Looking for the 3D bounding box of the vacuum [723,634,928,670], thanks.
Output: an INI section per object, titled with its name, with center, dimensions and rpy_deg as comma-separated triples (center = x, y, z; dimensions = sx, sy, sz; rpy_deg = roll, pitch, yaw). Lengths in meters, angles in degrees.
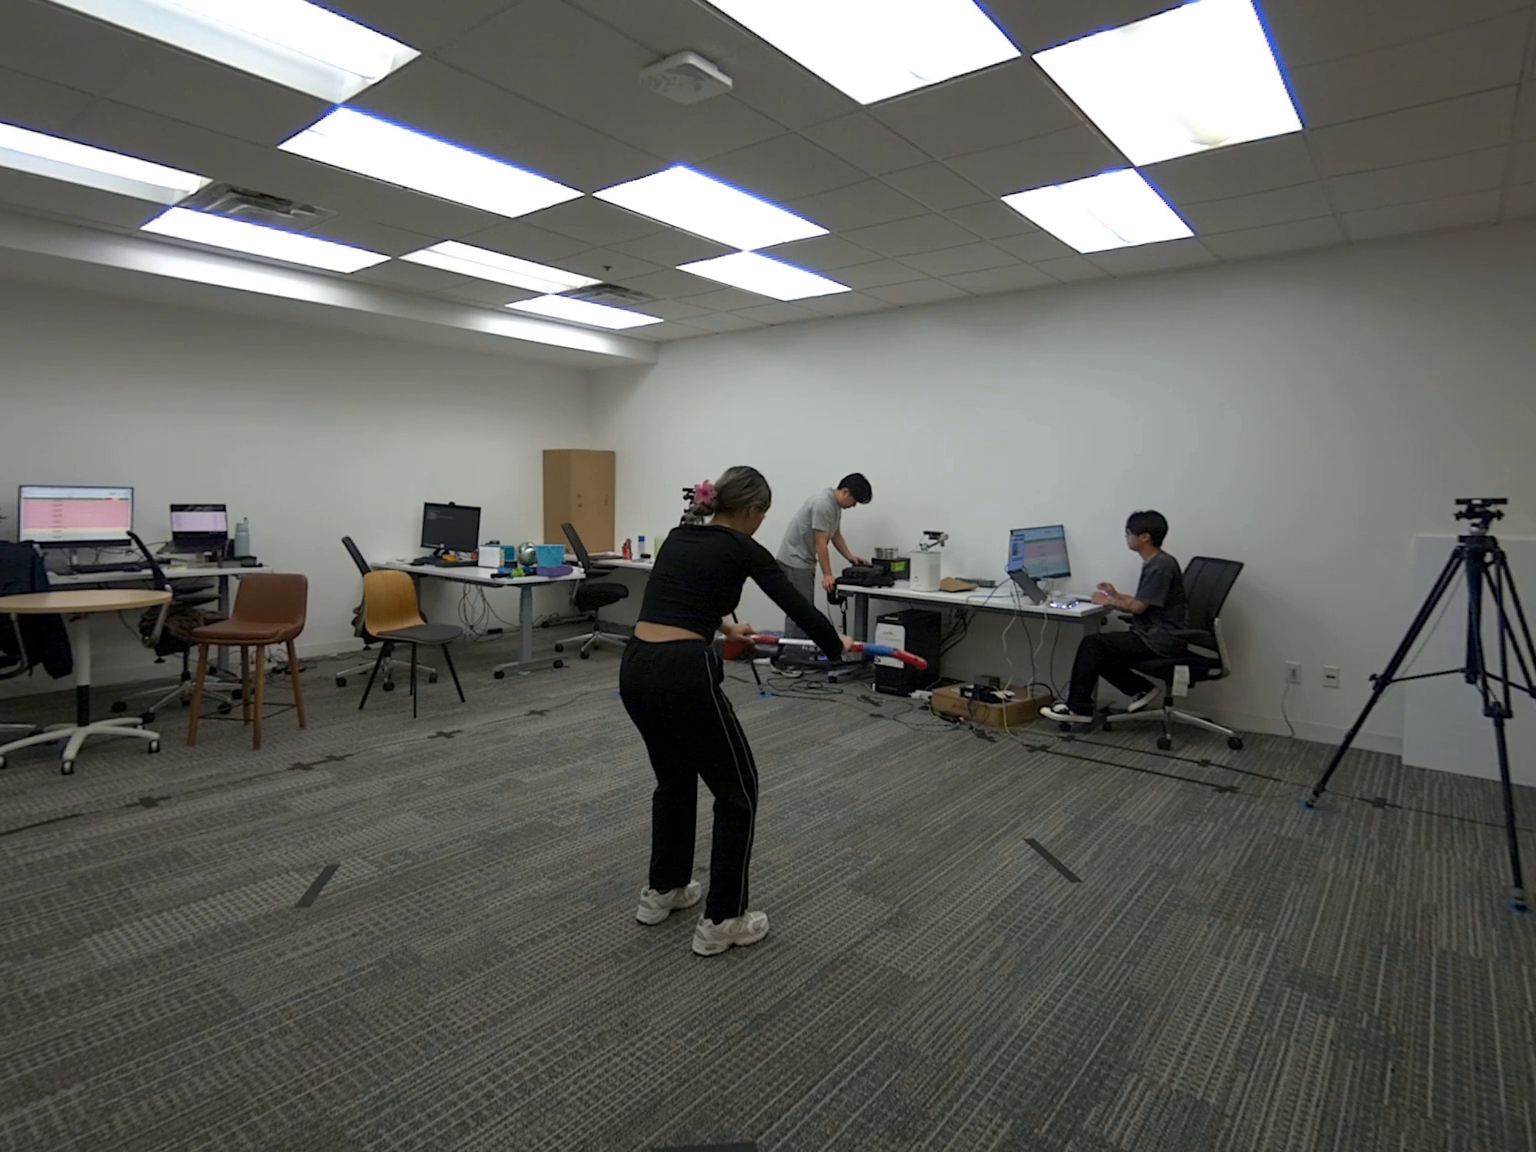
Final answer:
[vacuum]
center = 0.042, 0.261, 2.994
dimensions = 1.083, 0.139, 0.254
rpy_deg = 3, 46, 39
